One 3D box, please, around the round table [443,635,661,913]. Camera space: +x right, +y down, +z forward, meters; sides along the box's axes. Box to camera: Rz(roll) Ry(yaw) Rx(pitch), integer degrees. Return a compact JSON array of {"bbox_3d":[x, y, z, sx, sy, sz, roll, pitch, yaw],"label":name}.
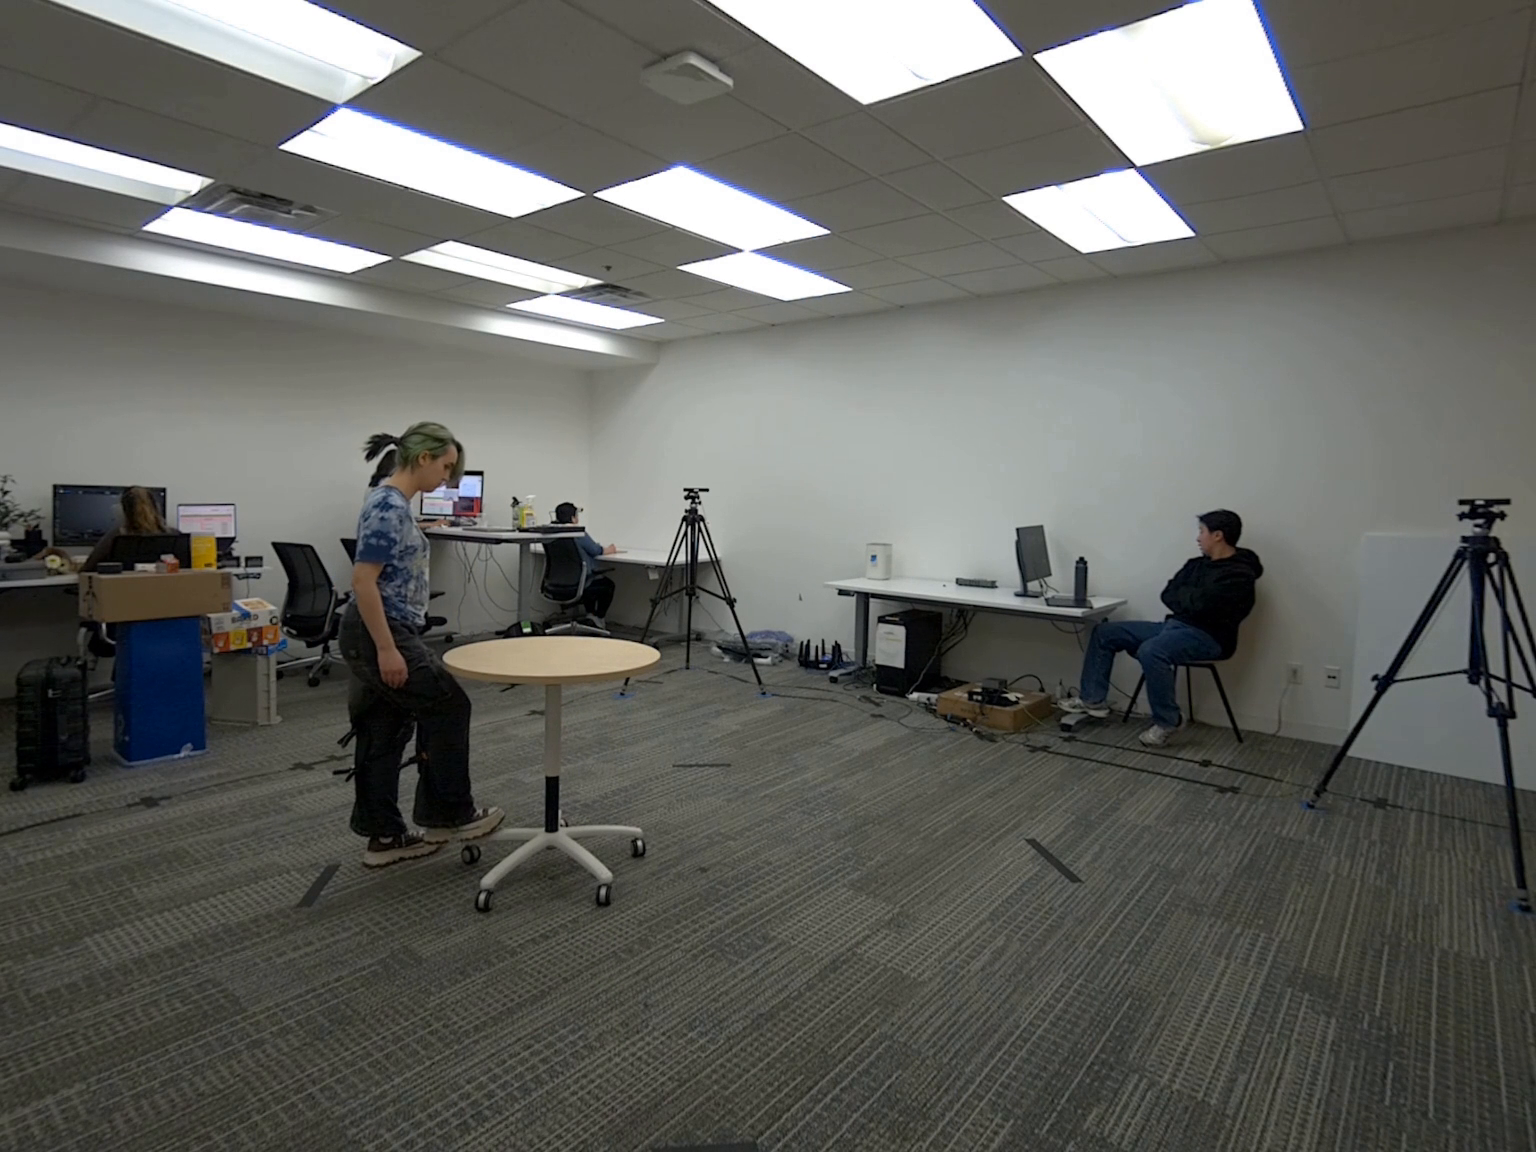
[{"bbox_3d":[-0.784,0.678,3.068,0.763,0.792,0.767,0,4,-2],"label":"round table"}]
